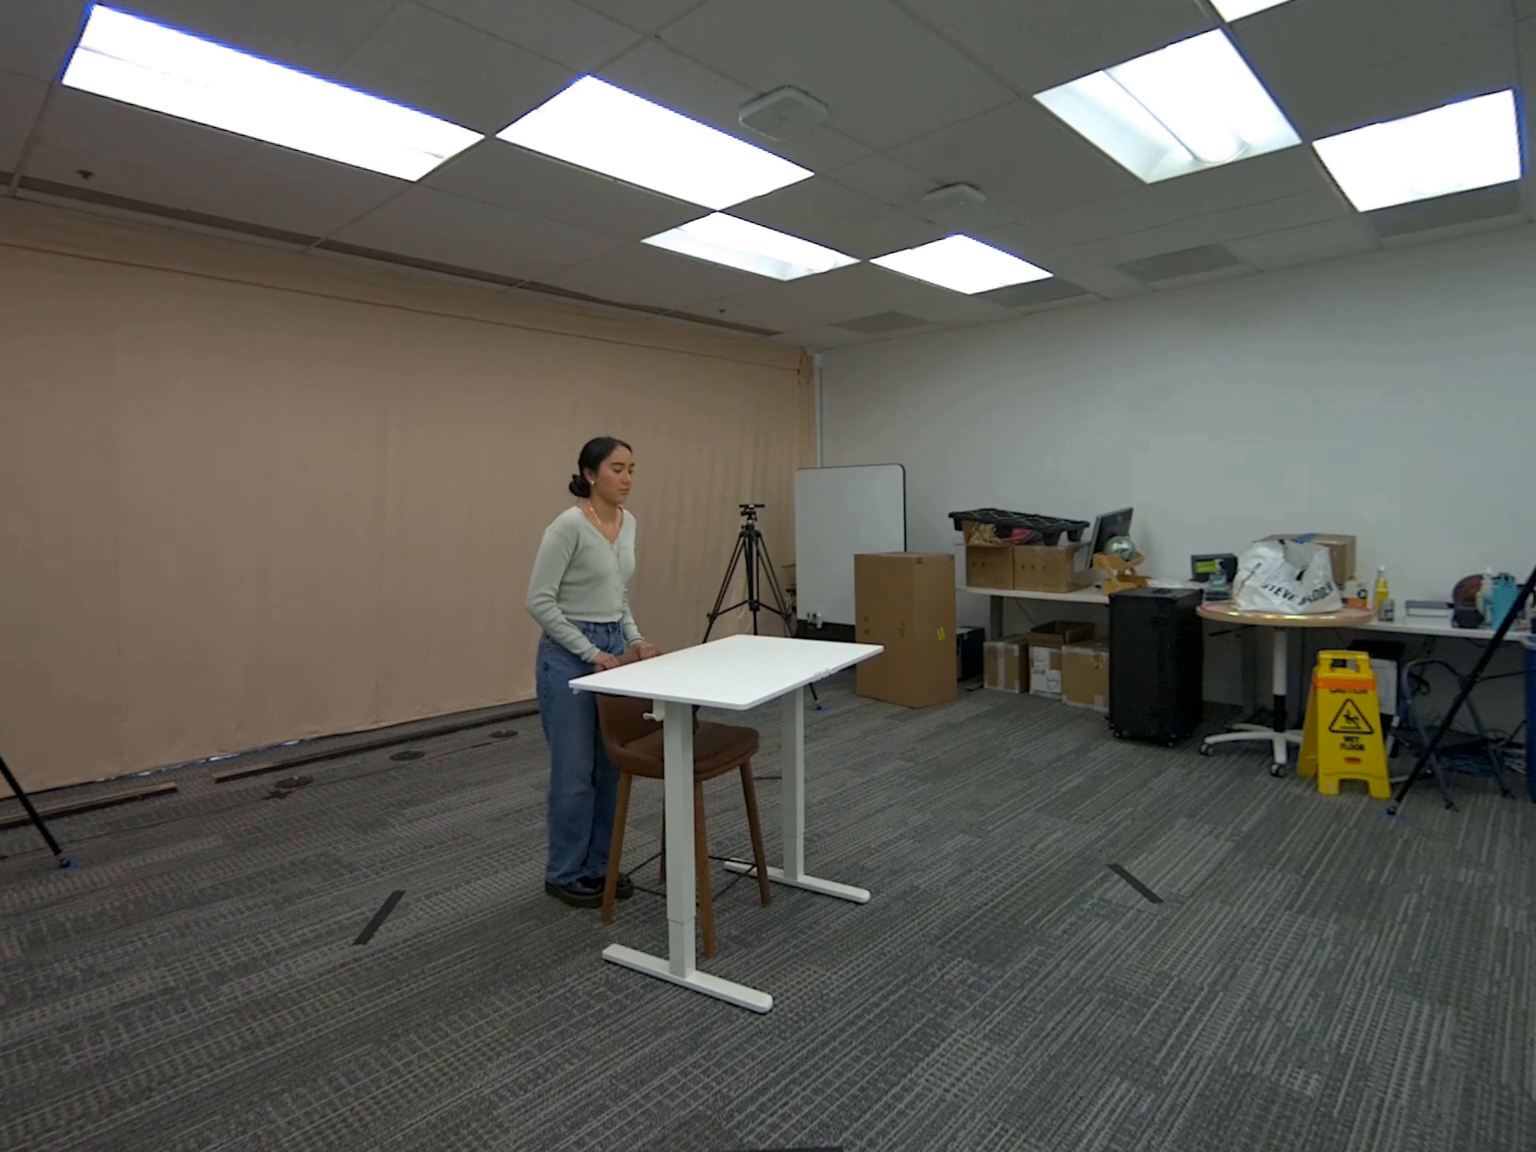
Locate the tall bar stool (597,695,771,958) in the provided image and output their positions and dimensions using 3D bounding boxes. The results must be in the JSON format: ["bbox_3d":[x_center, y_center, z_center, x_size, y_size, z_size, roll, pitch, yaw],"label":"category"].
[{"bbox_3d":[-0.298,0.723,2.853,0.480,0.888,0.445,-2,3,29],"label":"tall bar stool"}]
